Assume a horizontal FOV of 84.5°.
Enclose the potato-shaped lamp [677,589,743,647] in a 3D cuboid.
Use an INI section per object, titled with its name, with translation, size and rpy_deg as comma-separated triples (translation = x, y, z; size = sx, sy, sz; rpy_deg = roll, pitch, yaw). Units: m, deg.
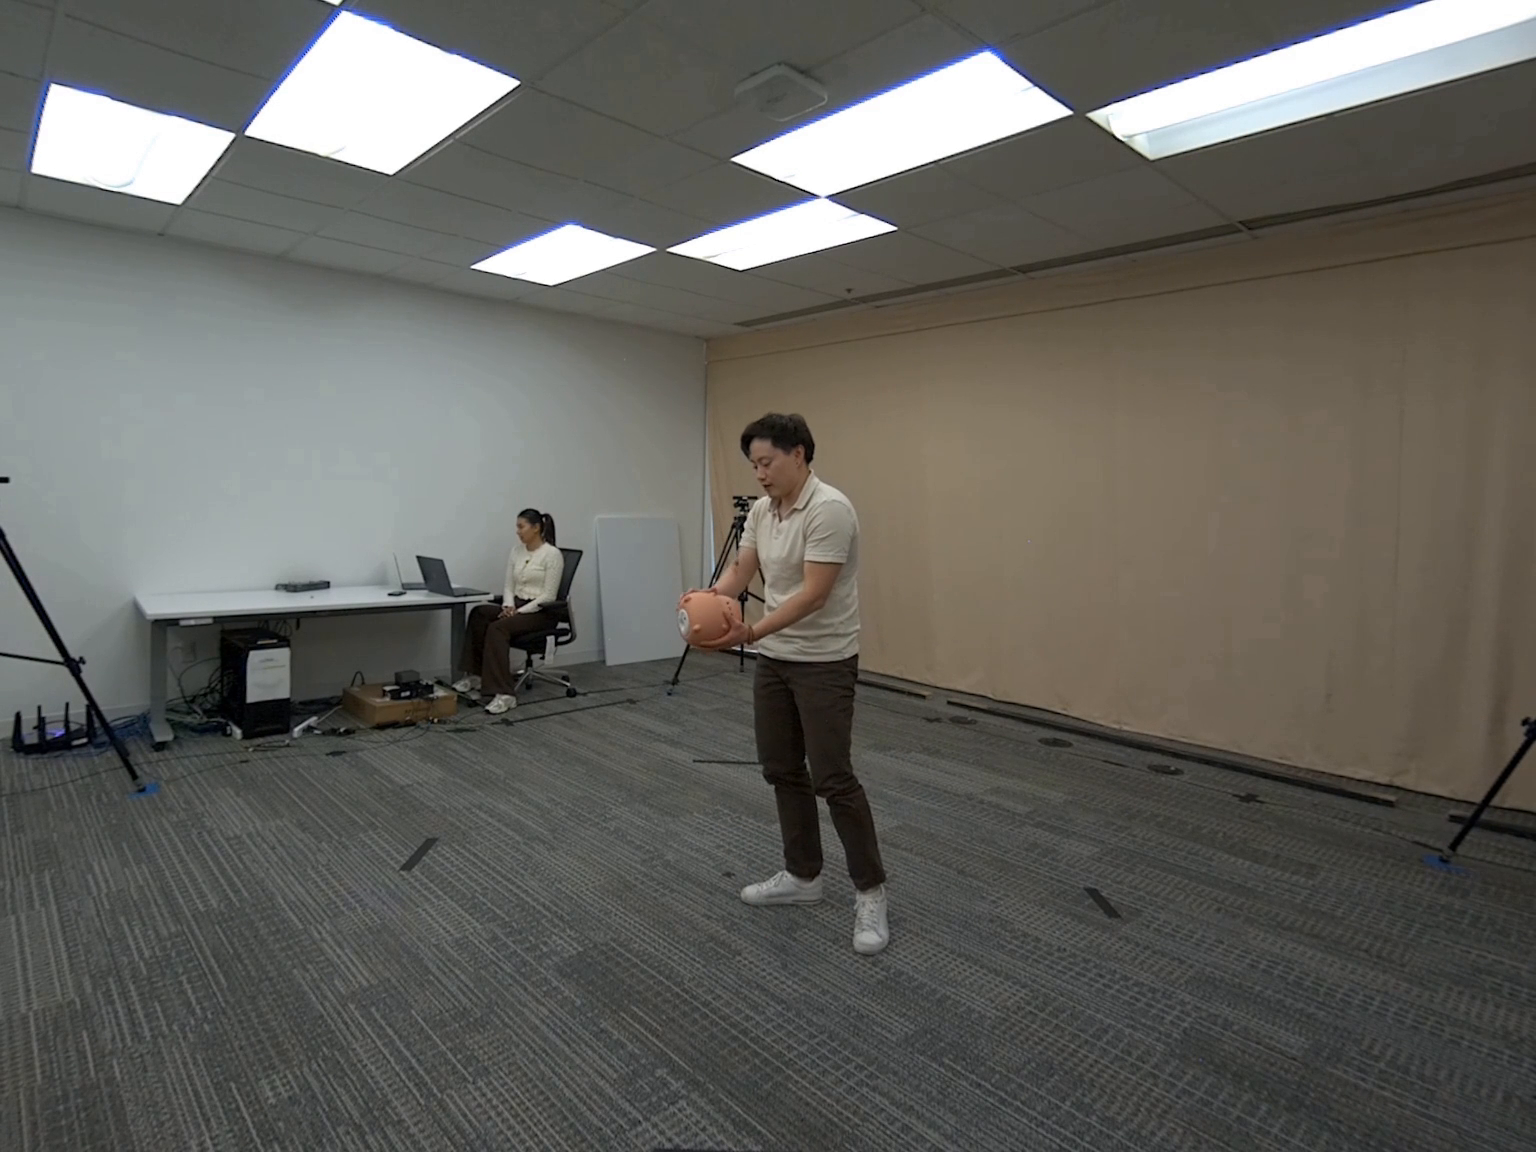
[potato-shaped lamp]
translation = -0.180, 0.137, 2.580
size = 0.195, 0.169, 0.170
rpy_deg = -7, -31, -26
